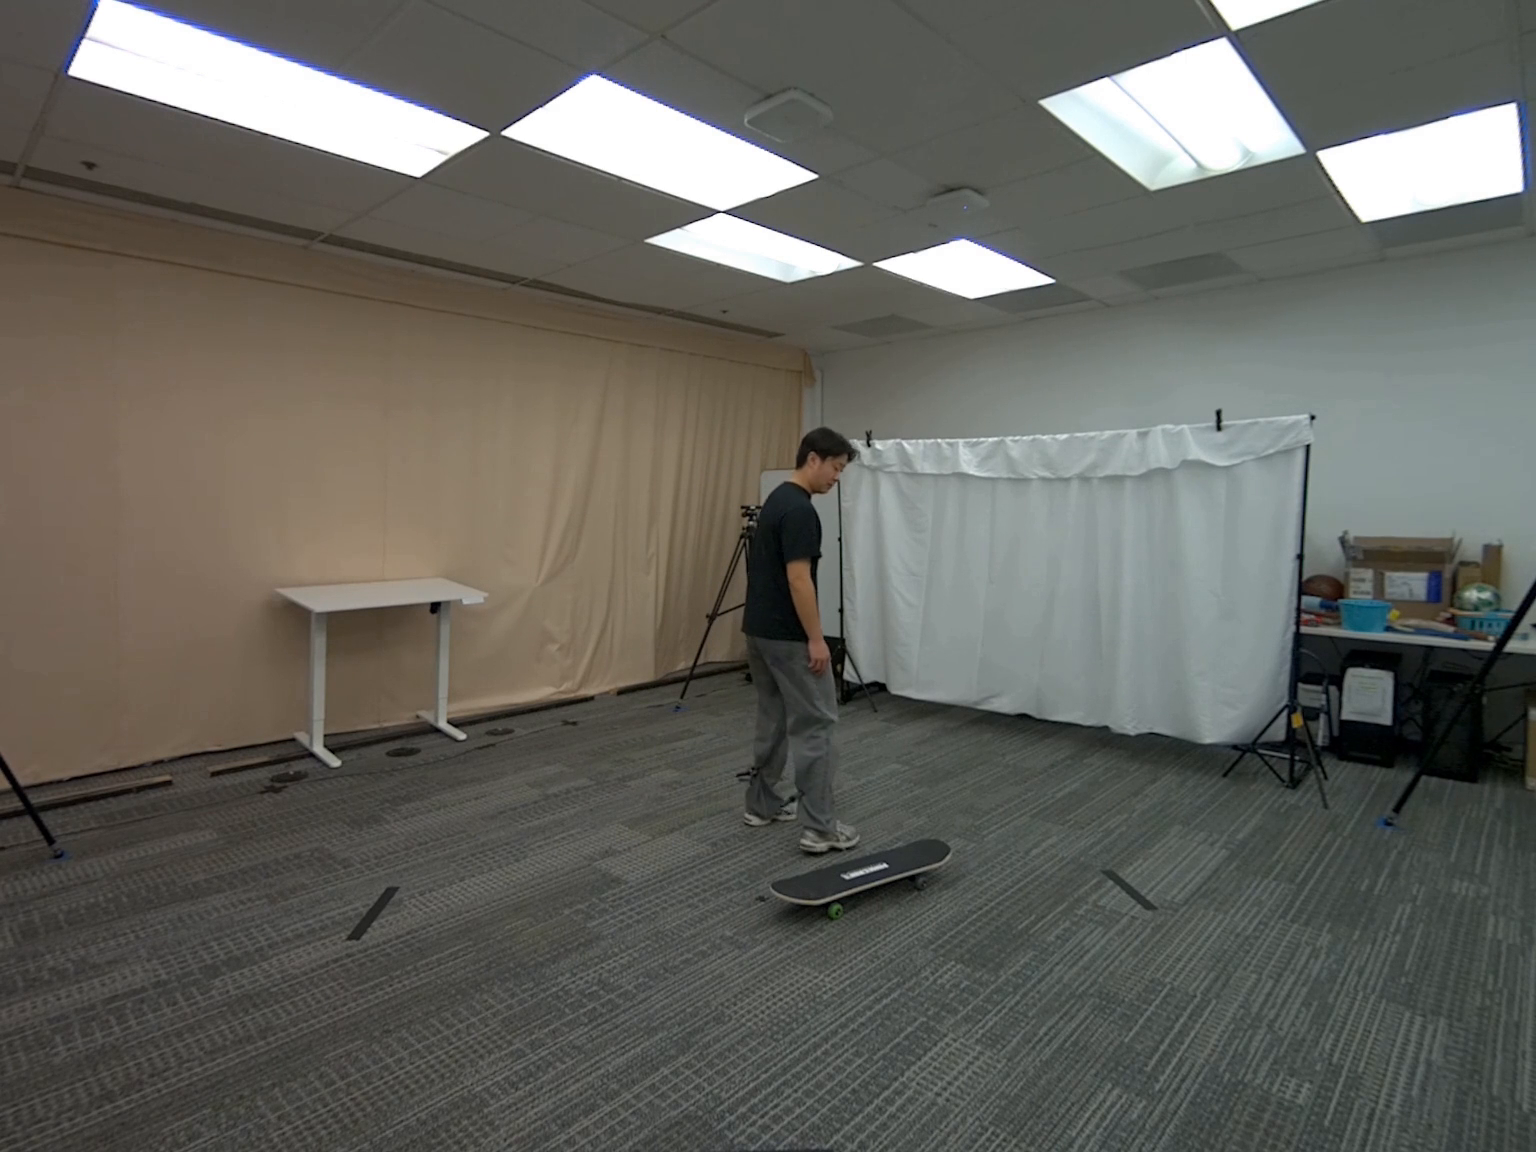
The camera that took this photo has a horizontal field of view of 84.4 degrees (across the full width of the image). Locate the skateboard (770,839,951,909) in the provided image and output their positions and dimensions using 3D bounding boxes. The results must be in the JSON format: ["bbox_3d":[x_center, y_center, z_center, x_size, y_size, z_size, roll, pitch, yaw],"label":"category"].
[{"bbox_3d":[0.350,1.083,3.006,0.764,0.110,0.199,-3,6,-32],"label":"skateboard"}]
